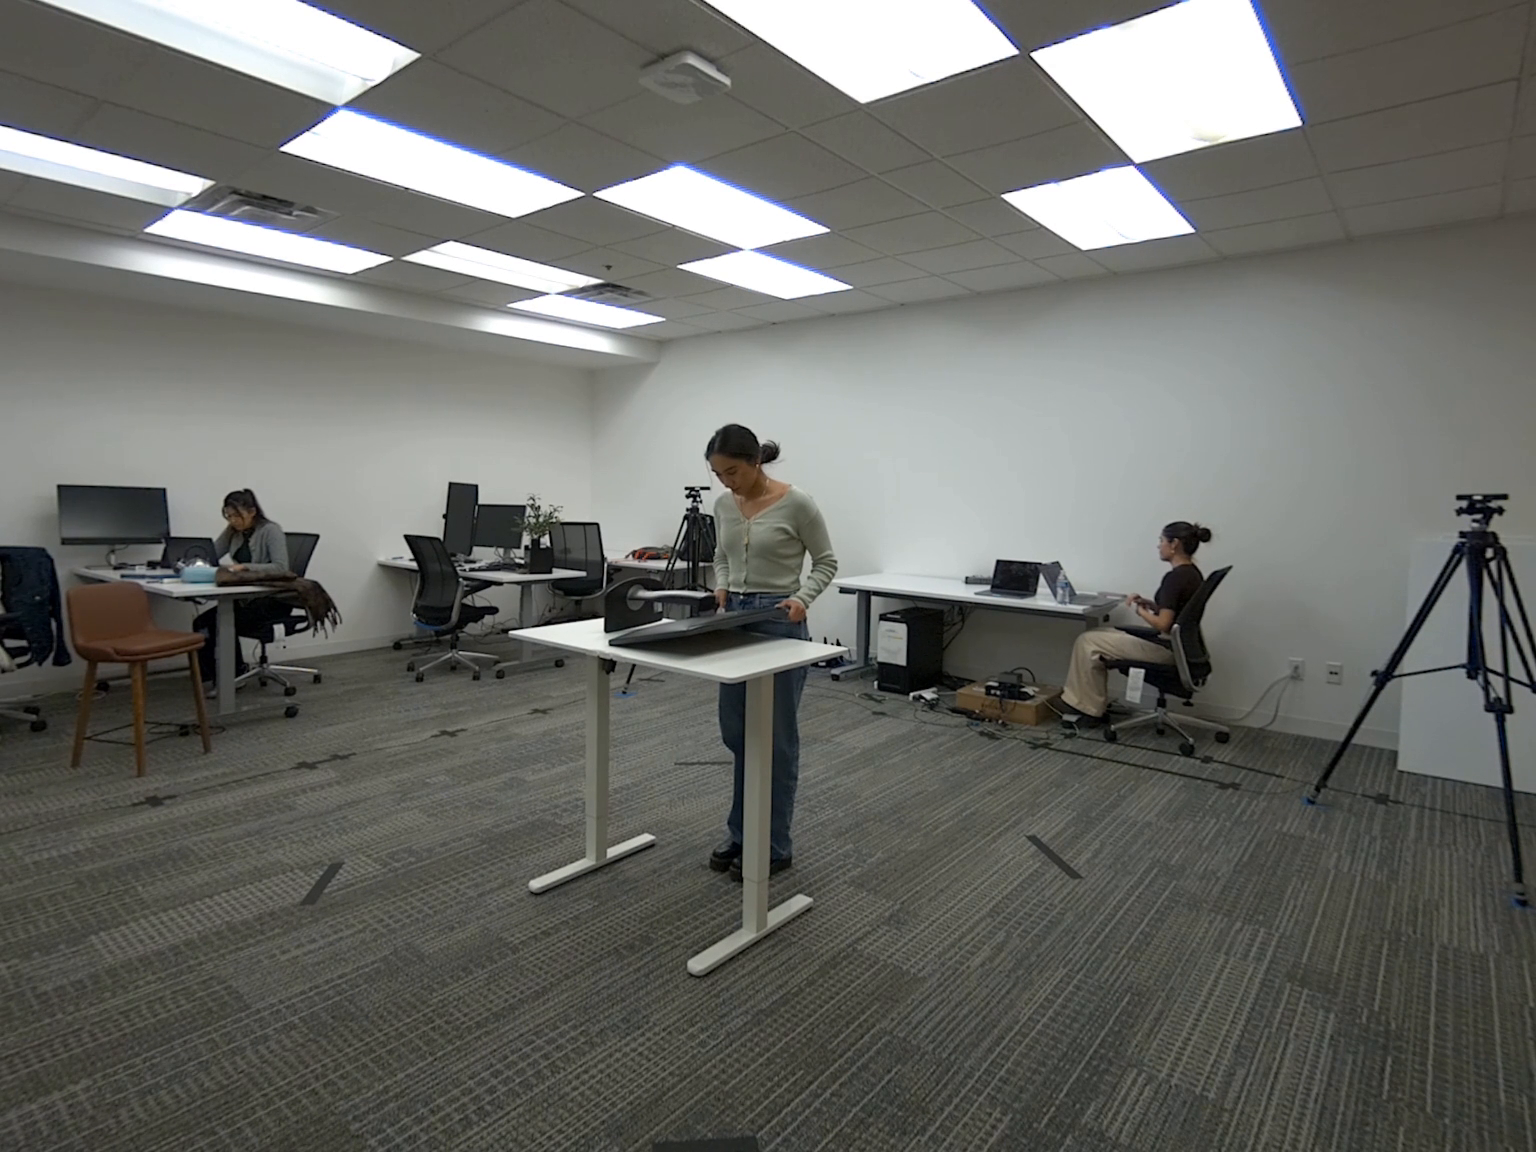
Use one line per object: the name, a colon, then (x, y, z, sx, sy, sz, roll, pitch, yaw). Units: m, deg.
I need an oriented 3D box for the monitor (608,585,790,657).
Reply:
monitor: (-0.306, 0.129, 2.860, 0.541, 0.185, 0.525, 9, 14, 40)
